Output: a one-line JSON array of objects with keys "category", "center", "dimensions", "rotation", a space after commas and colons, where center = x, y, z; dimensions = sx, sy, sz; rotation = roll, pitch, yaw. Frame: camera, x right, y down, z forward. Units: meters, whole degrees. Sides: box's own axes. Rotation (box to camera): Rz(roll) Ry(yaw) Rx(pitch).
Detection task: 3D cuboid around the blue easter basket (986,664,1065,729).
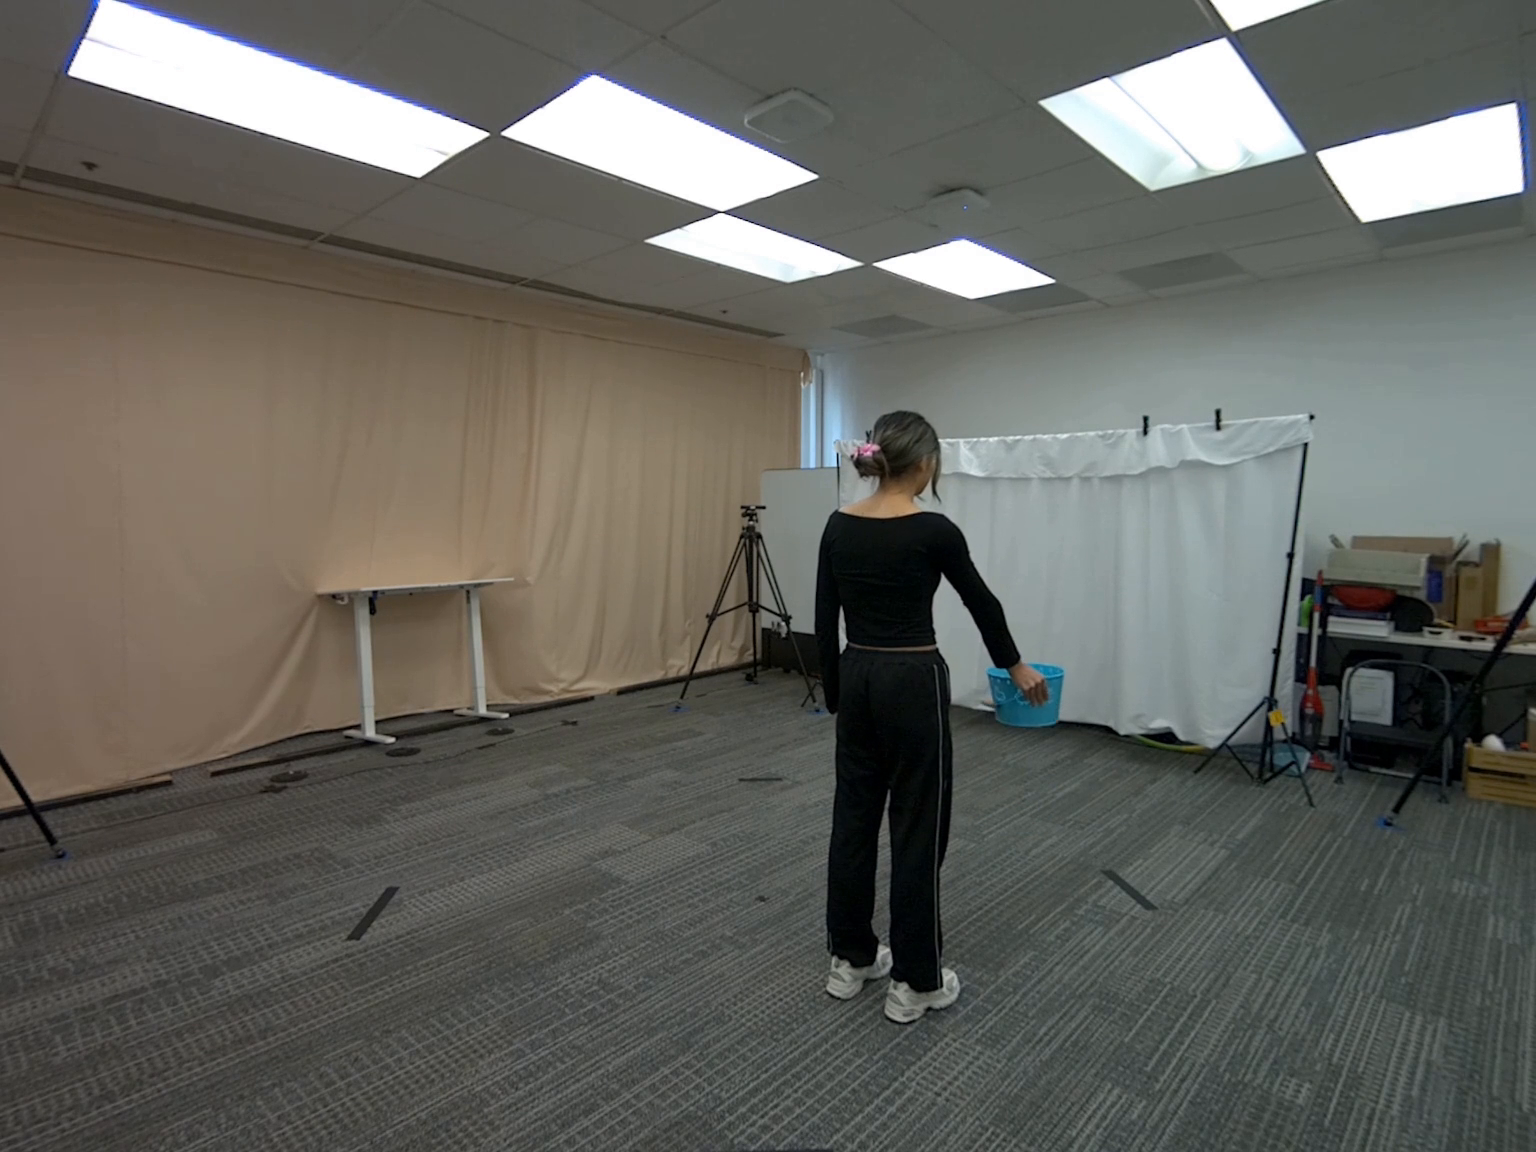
[{"category": "blue easter basket", "center": [0.801, 0.371, 2.594], "dimensions": [0.243, 0.155, 0.244], "rotation": [-2, 4, -2]}]
